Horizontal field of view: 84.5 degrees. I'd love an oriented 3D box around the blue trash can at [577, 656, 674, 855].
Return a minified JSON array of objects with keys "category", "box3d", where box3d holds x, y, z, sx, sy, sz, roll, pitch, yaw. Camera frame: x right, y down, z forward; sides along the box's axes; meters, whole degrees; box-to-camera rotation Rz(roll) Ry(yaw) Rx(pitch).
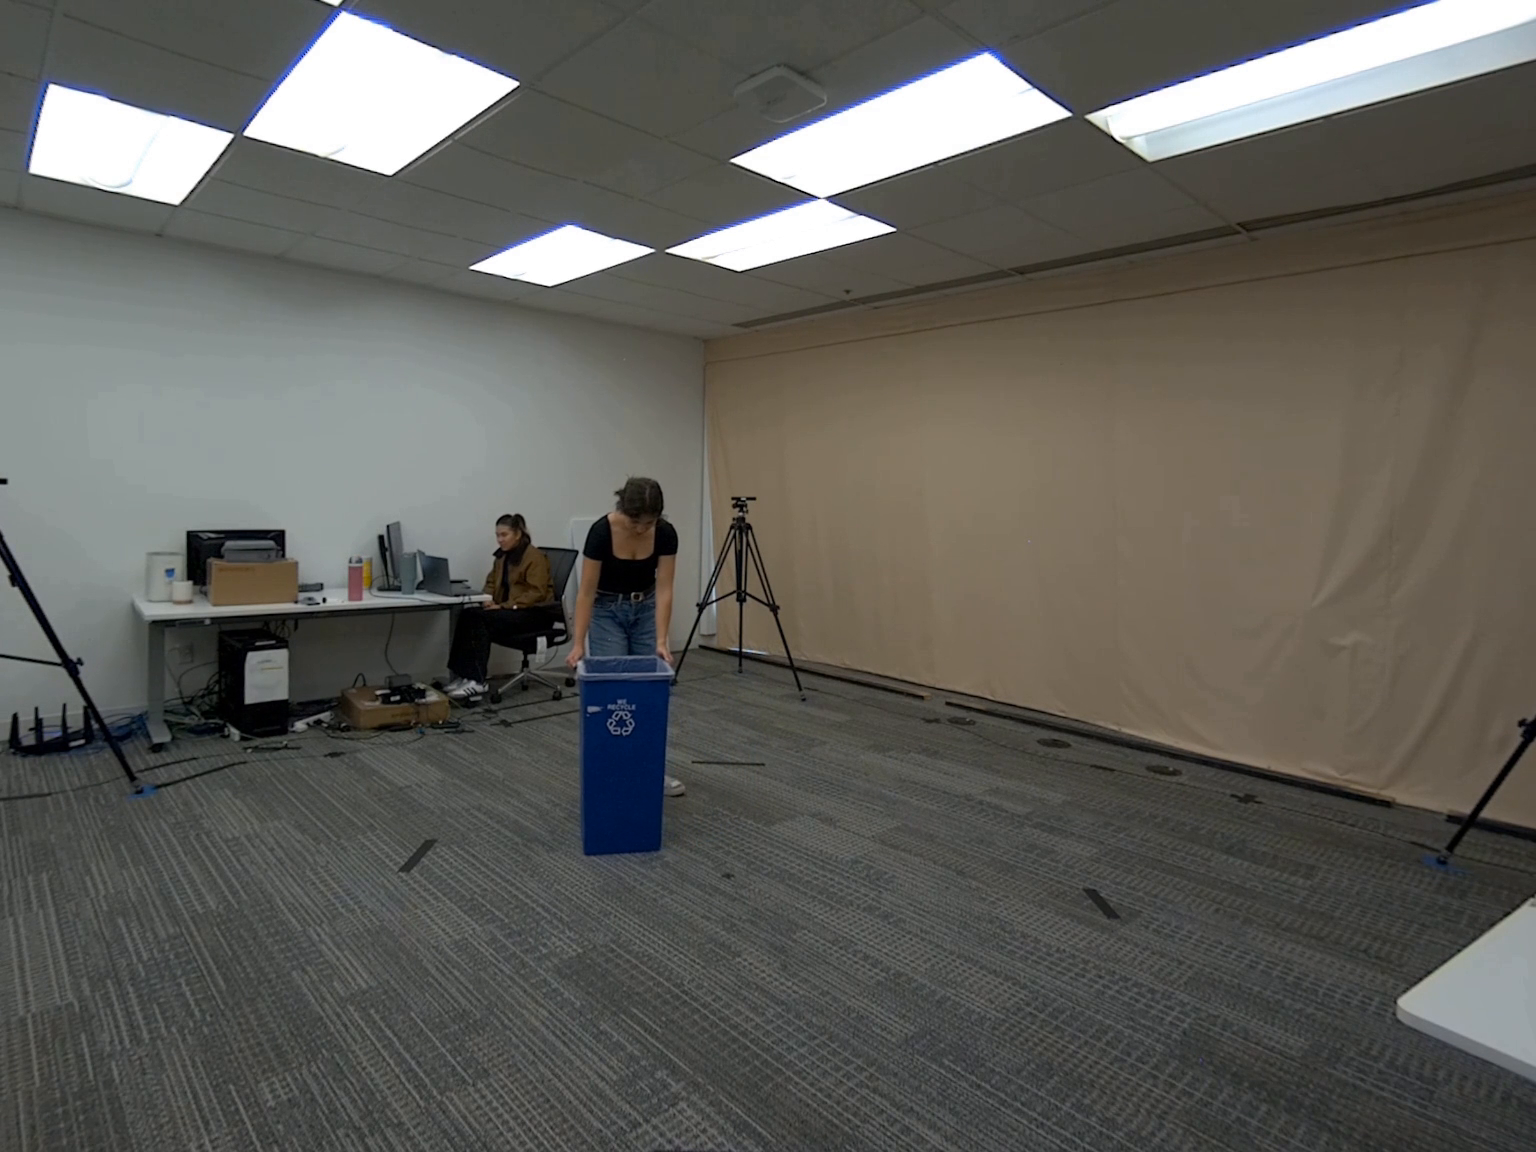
[{"category":"blue trash can","box3d":[-0.593,0.711,3.409,0.370,0.712,0.383,0,3,-14]}]
